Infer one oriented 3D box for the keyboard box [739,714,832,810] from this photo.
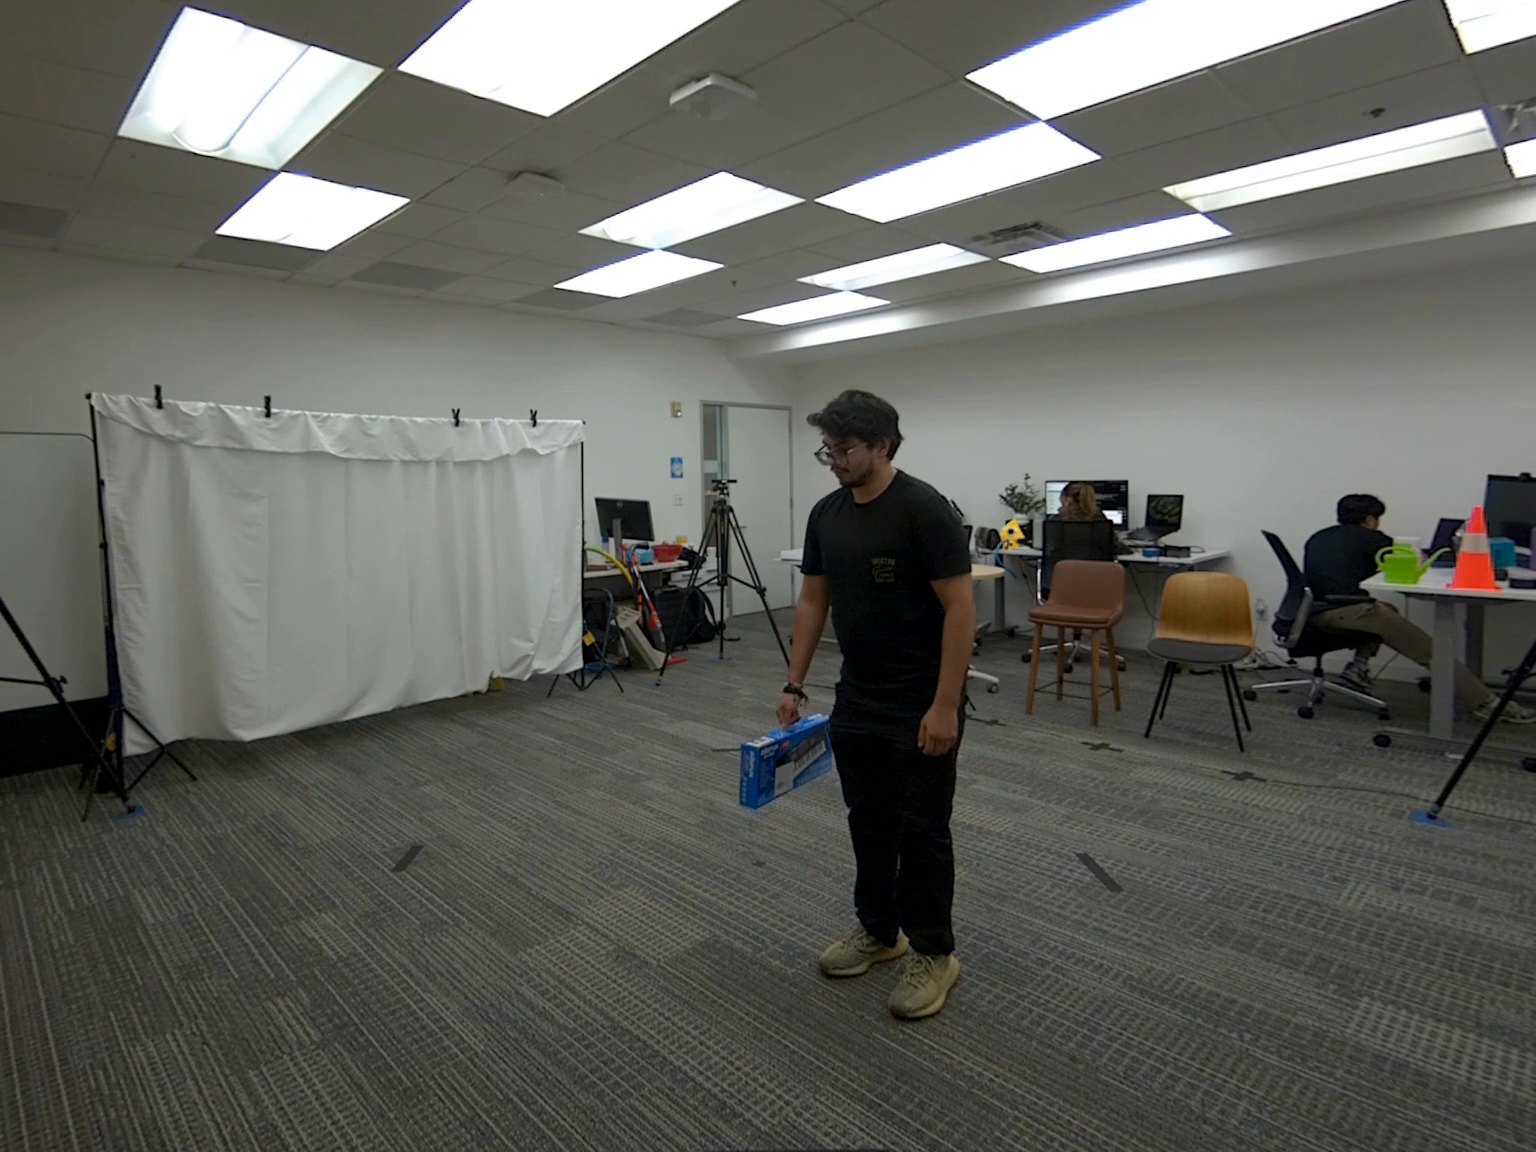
[{"bbox_3d":[0.069,0.542,2.514,0.061,0.175,0.426,3,5,33],"label":"keyboard box"}]
